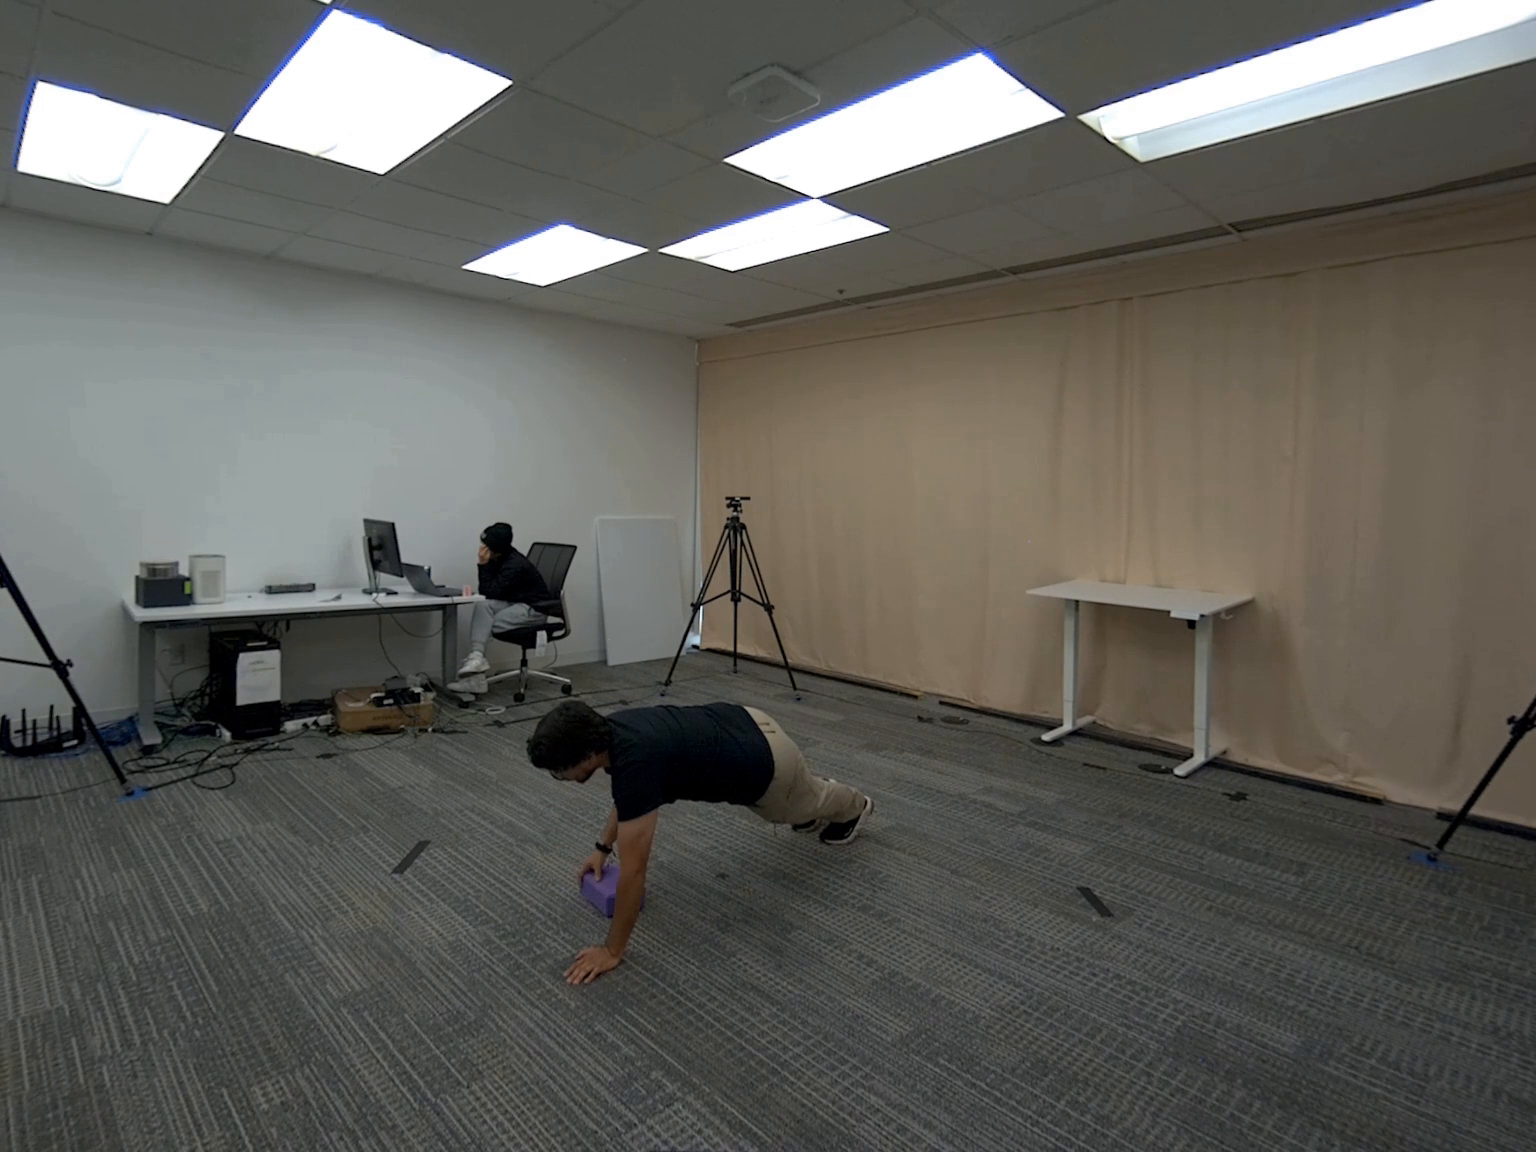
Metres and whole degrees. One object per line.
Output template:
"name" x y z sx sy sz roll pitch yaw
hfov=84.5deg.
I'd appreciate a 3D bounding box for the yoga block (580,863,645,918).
"yoga block" -0.539 1.081 2.890 0.146 0.076 0.235 -3 5 -36
